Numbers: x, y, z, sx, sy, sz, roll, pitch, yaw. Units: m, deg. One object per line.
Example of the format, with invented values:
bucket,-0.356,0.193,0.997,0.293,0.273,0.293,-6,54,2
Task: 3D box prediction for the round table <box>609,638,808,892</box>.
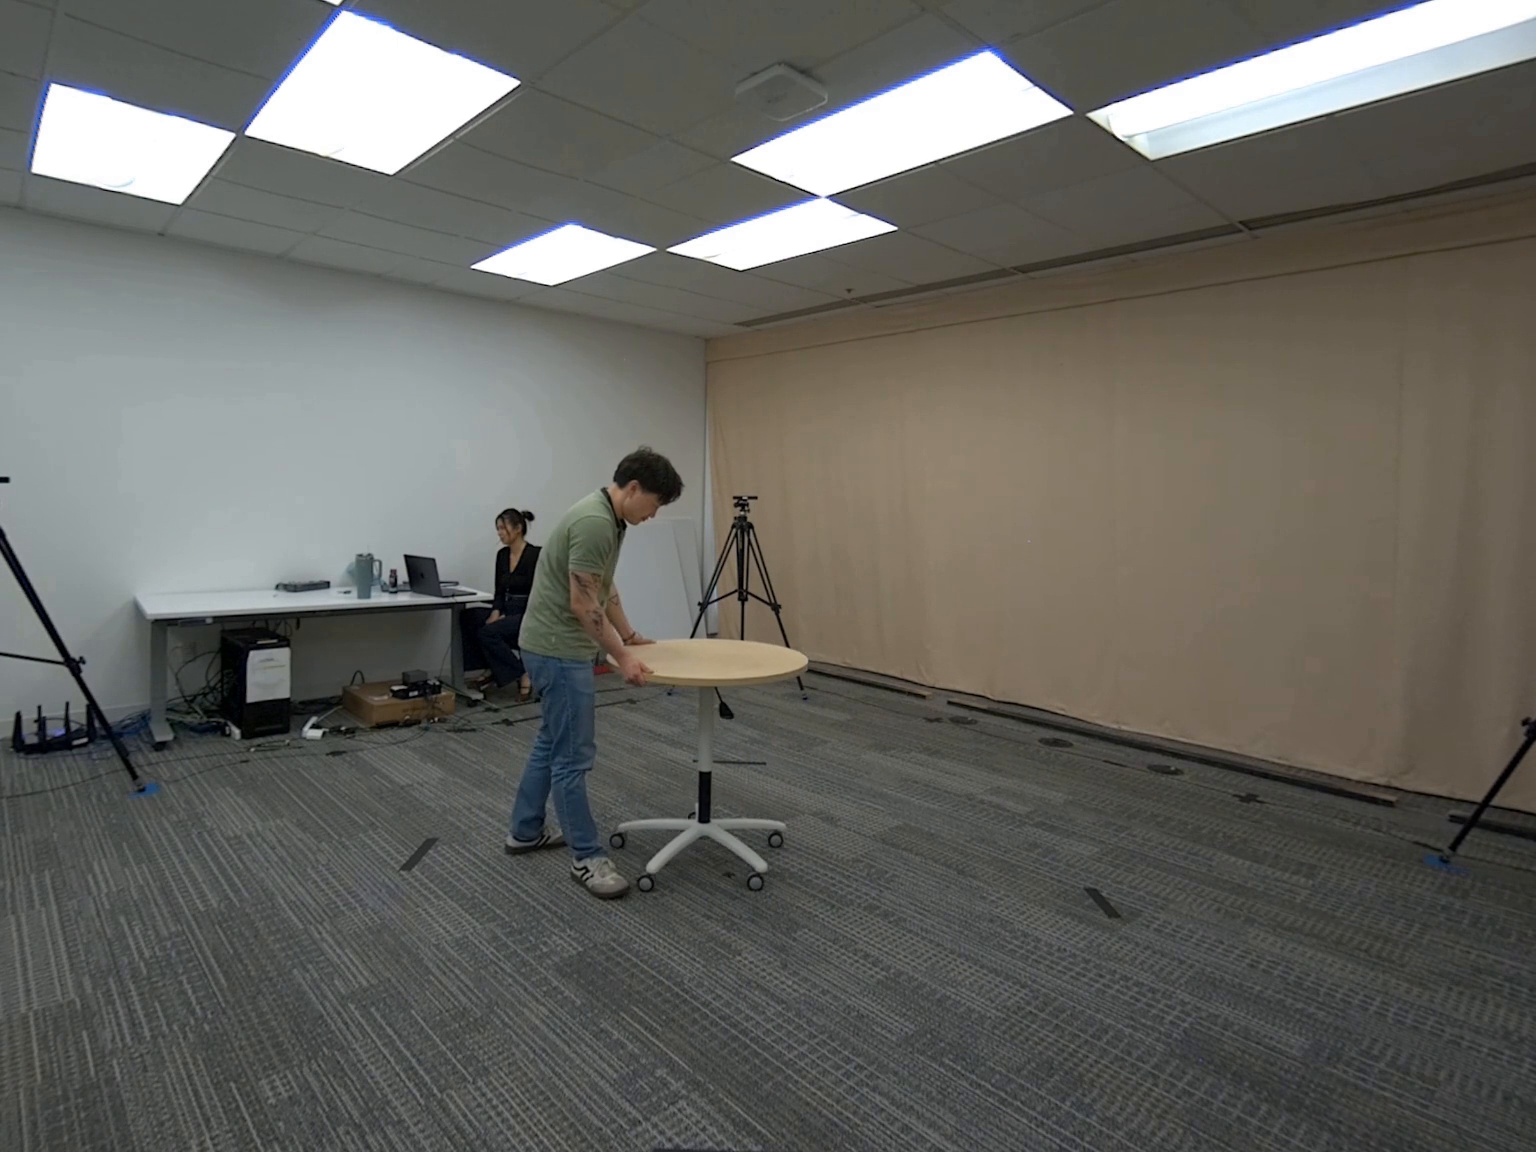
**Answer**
round table,-0.244,0.699,3.229,0.763,0.792,0.767,1,4,-1
